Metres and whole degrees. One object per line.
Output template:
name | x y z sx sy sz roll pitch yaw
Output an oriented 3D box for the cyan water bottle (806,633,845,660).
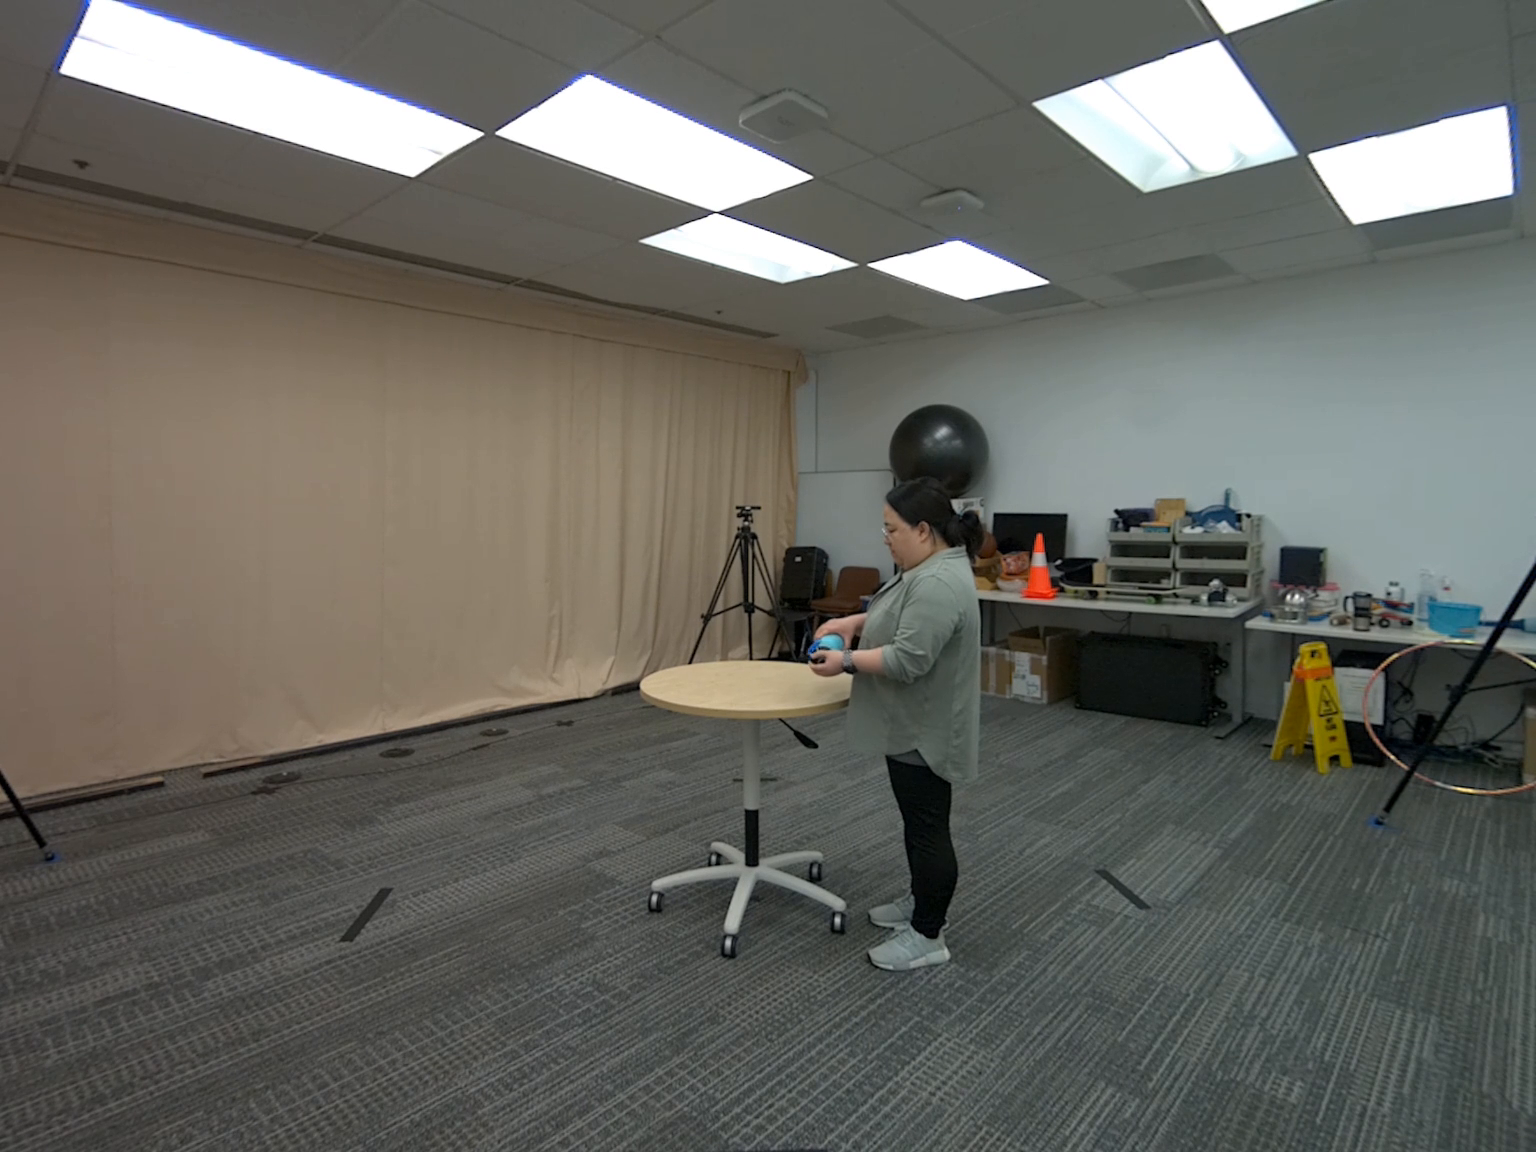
cyan water bottle | 0.202 0.231 2.662 0.094 0.092 0.280 1 11 14
